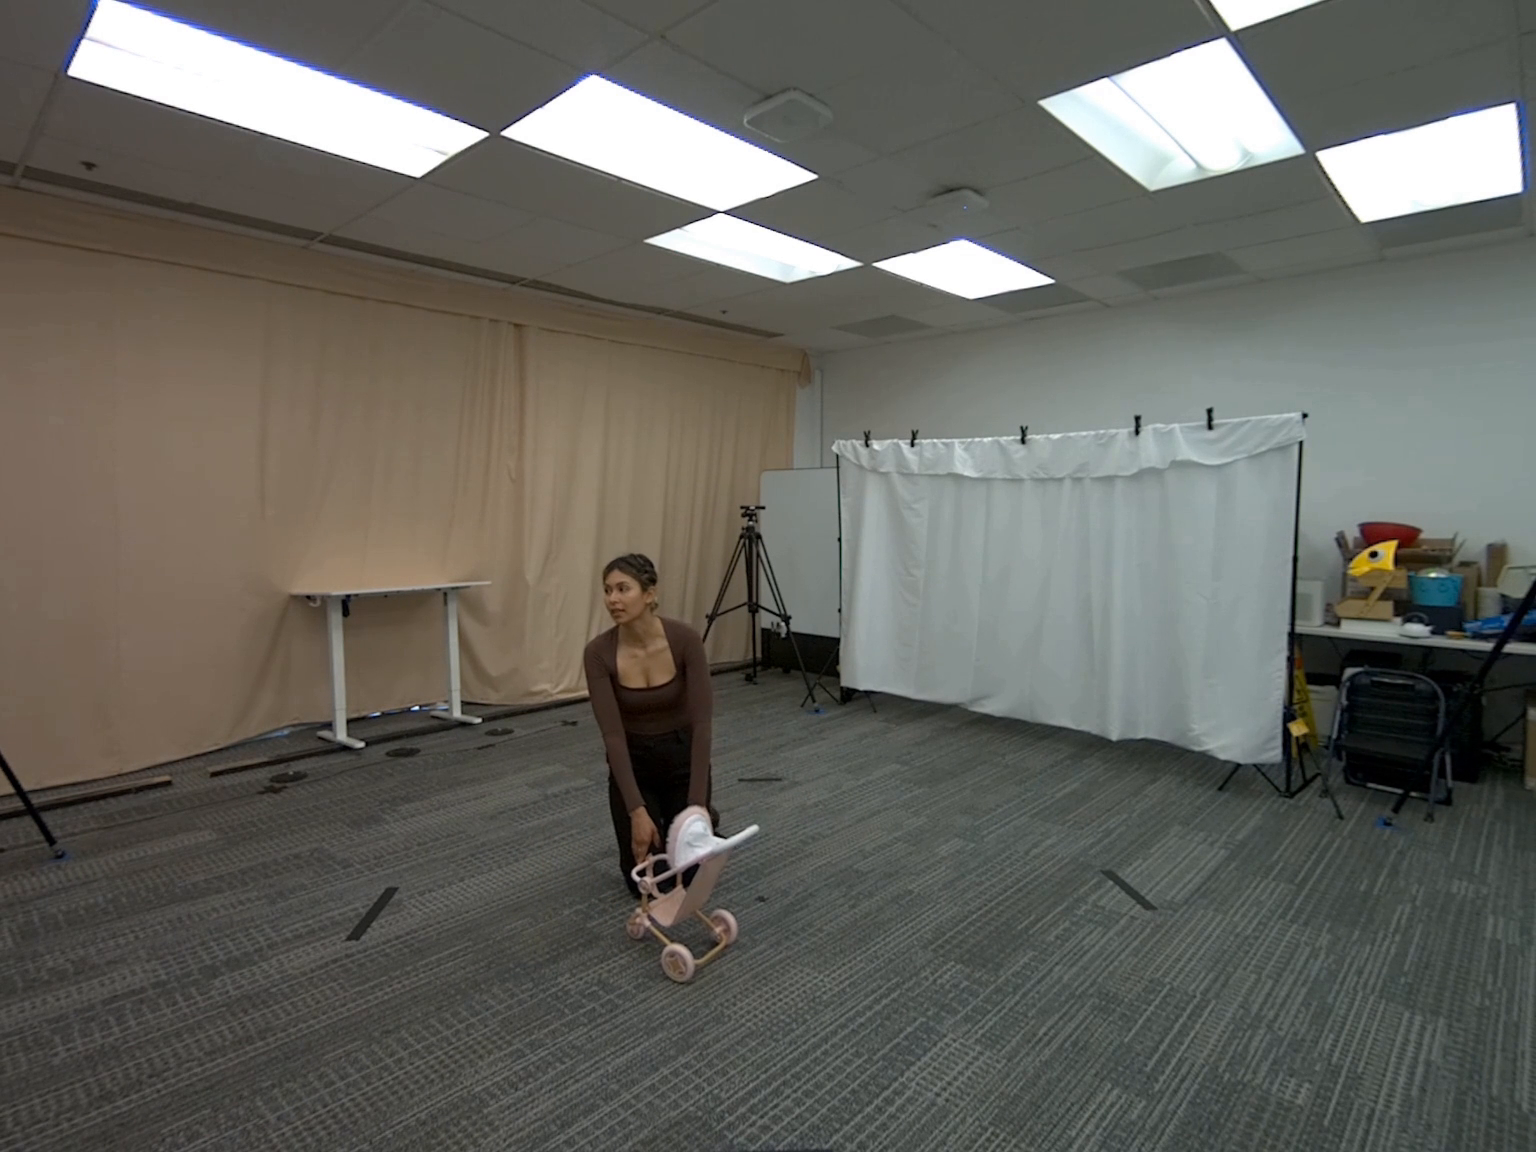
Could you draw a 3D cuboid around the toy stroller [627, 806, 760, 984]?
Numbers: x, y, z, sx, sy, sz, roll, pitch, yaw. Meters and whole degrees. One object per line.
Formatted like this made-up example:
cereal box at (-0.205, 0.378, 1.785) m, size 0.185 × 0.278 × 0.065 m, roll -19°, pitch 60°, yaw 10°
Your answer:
toy stroller at (-0.258, 0.948, 2.604) m, size 0.353 × 0.532 × 0.273 m, roll 21°, pitch 14°, yaw 34°
